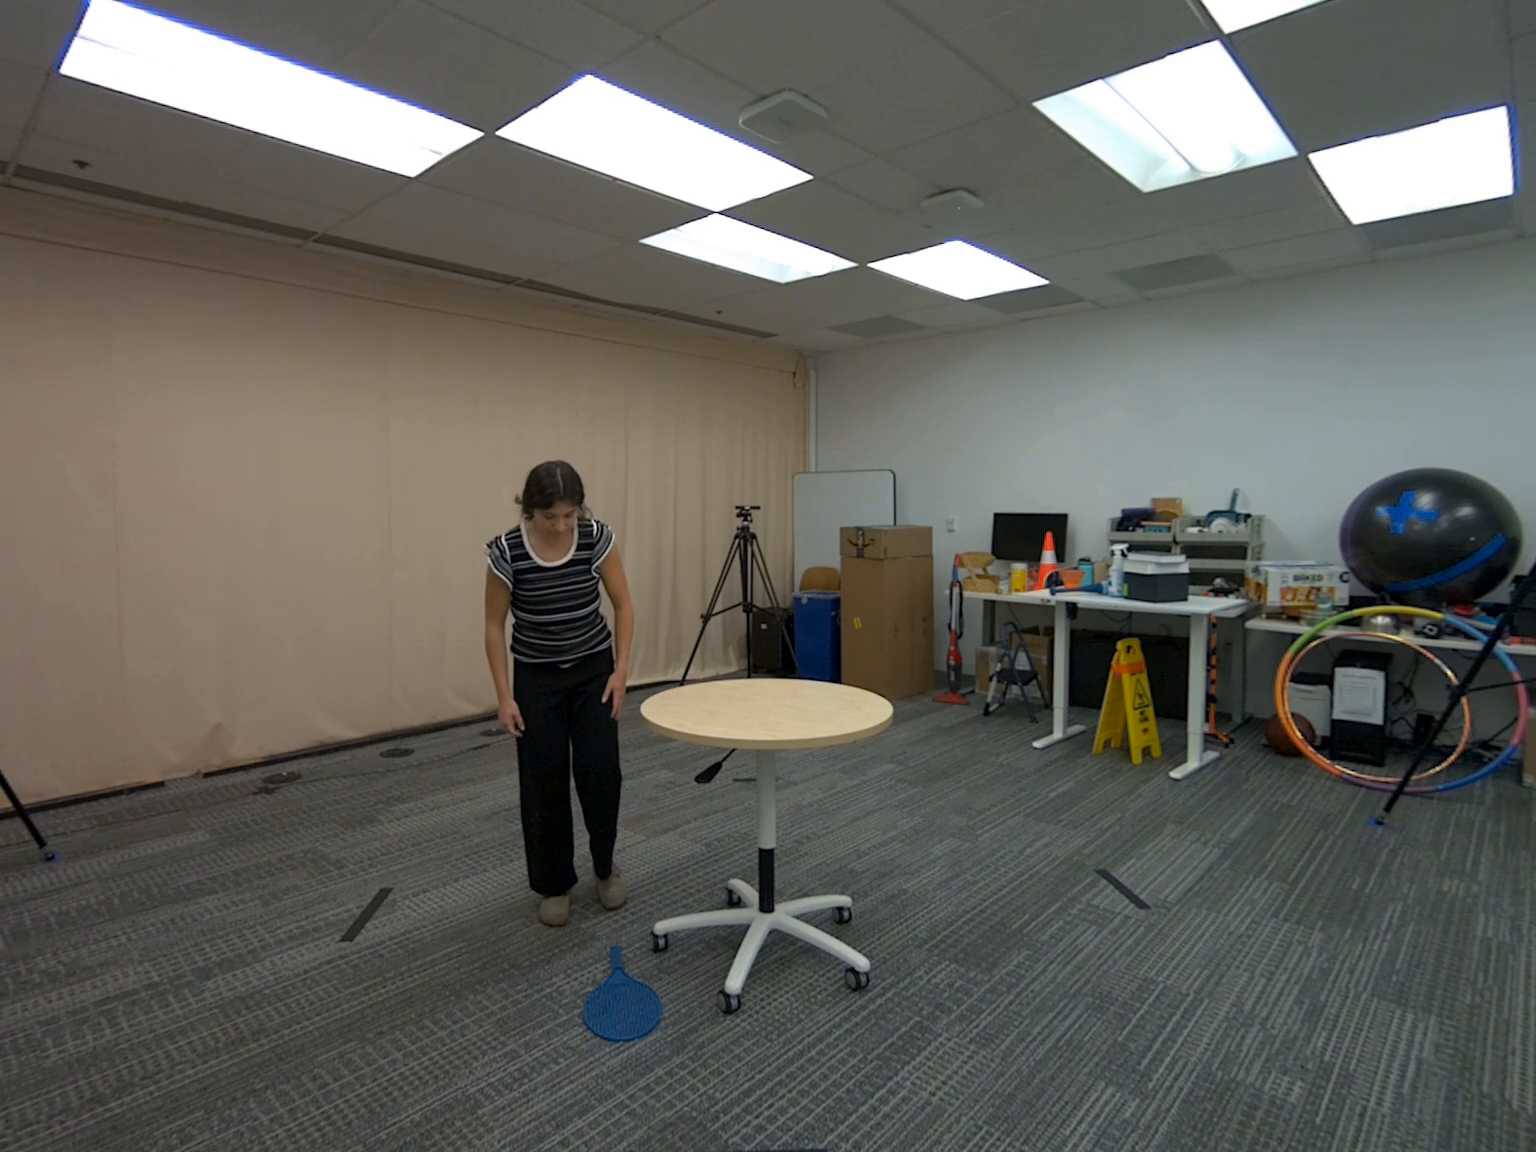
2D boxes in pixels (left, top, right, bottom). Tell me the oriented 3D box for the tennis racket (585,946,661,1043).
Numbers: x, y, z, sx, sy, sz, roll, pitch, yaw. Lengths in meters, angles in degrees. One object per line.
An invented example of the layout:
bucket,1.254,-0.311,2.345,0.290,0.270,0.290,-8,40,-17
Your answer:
tennis racket,-0.390,1.159,2.416,0.211,0.031,0.439,-2,6,-11
